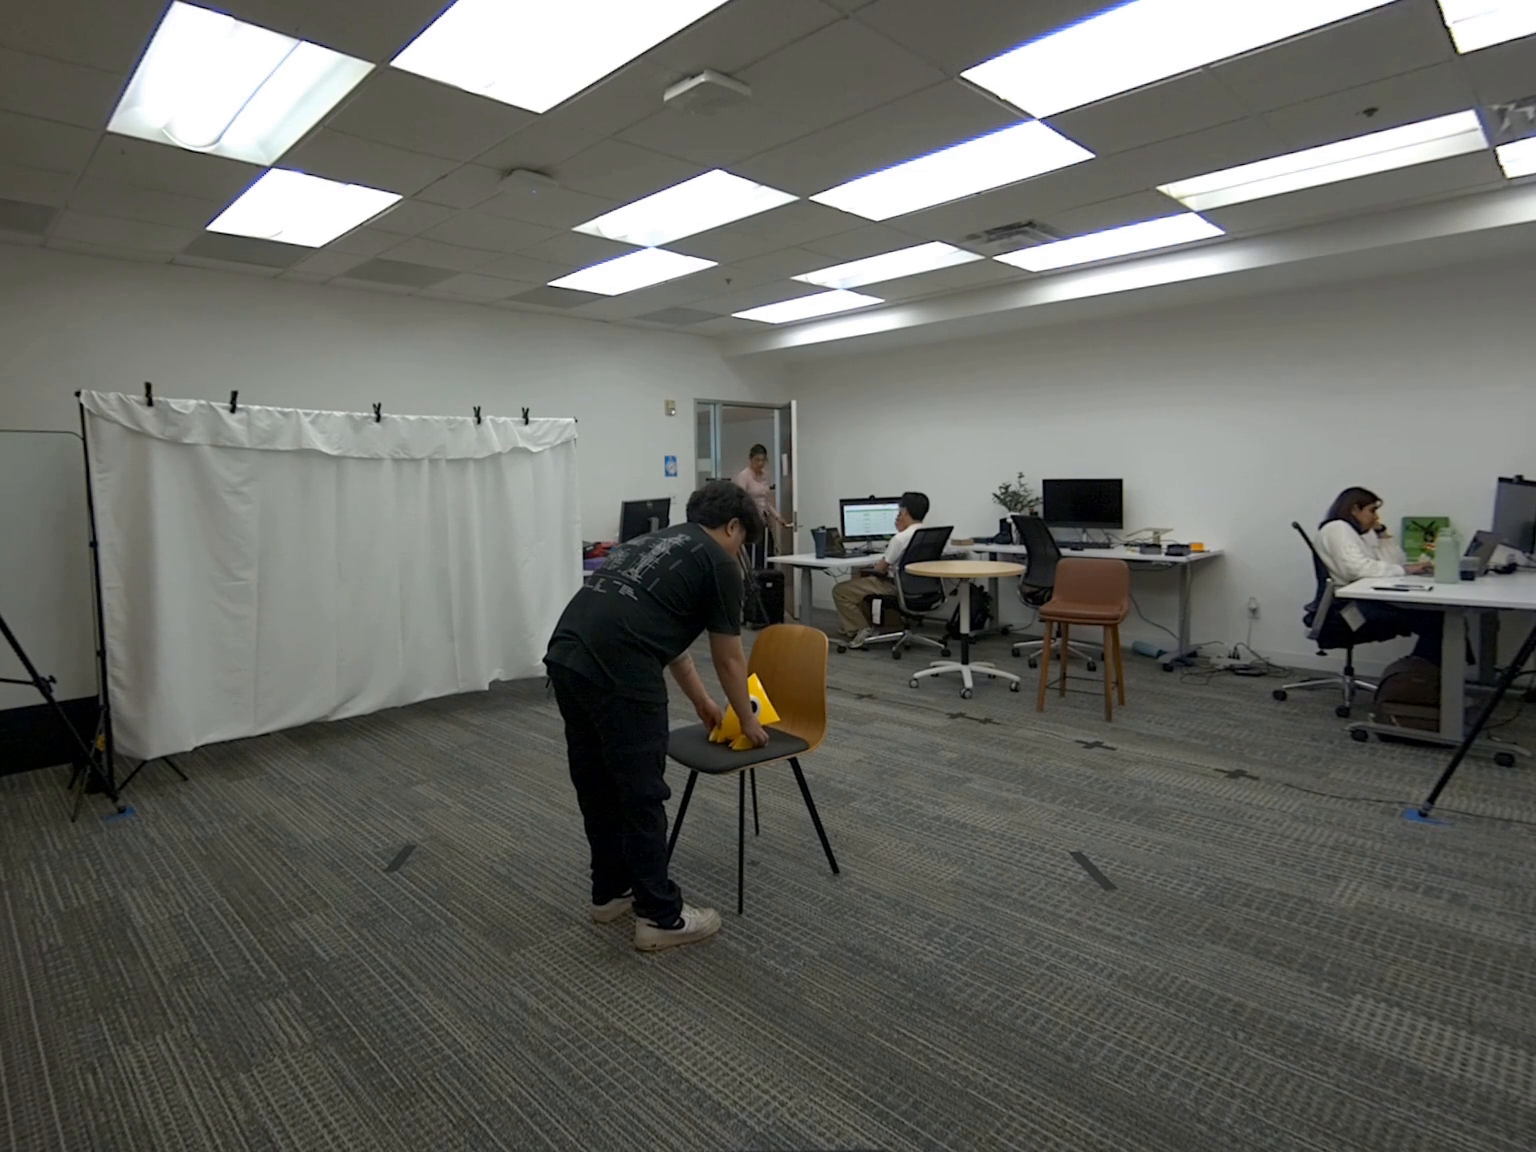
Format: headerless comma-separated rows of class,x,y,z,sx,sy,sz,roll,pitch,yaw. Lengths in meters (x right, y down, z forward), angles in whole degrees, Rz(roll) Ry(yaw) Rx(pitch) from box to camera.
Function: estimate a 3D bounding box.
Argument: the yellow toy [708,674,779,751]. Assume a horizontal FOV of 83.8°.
yellow toy,-0.083,0.465,2.986,0.187,0.230,0.211,-1,4,-41
